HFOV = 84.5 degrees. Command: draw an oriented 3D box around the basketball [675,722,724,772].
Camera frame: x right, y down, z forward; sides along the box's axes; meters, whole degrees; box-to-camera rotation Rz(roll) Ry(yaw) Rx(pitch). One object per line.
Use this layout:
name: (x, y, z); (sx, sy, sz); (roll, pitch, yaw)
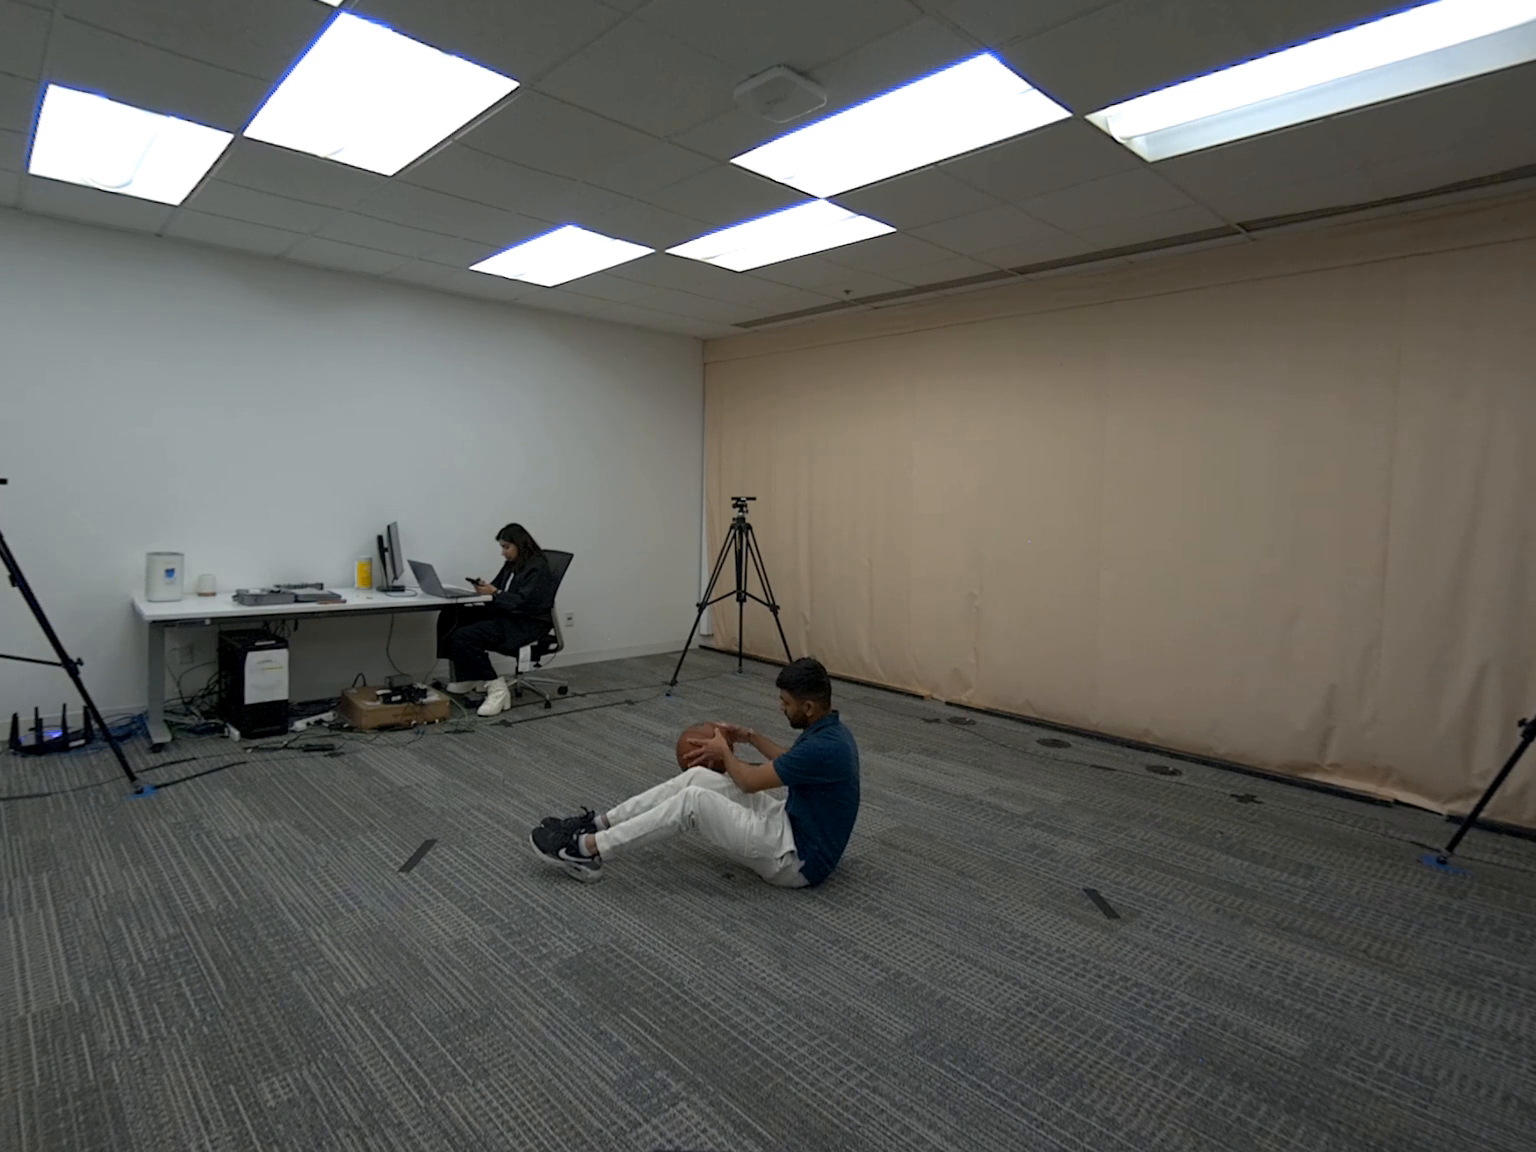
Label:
basketball: (-0.261, 0.720, 3.470); (0.236, 0.235, 0.237); (1, 4, -1)
